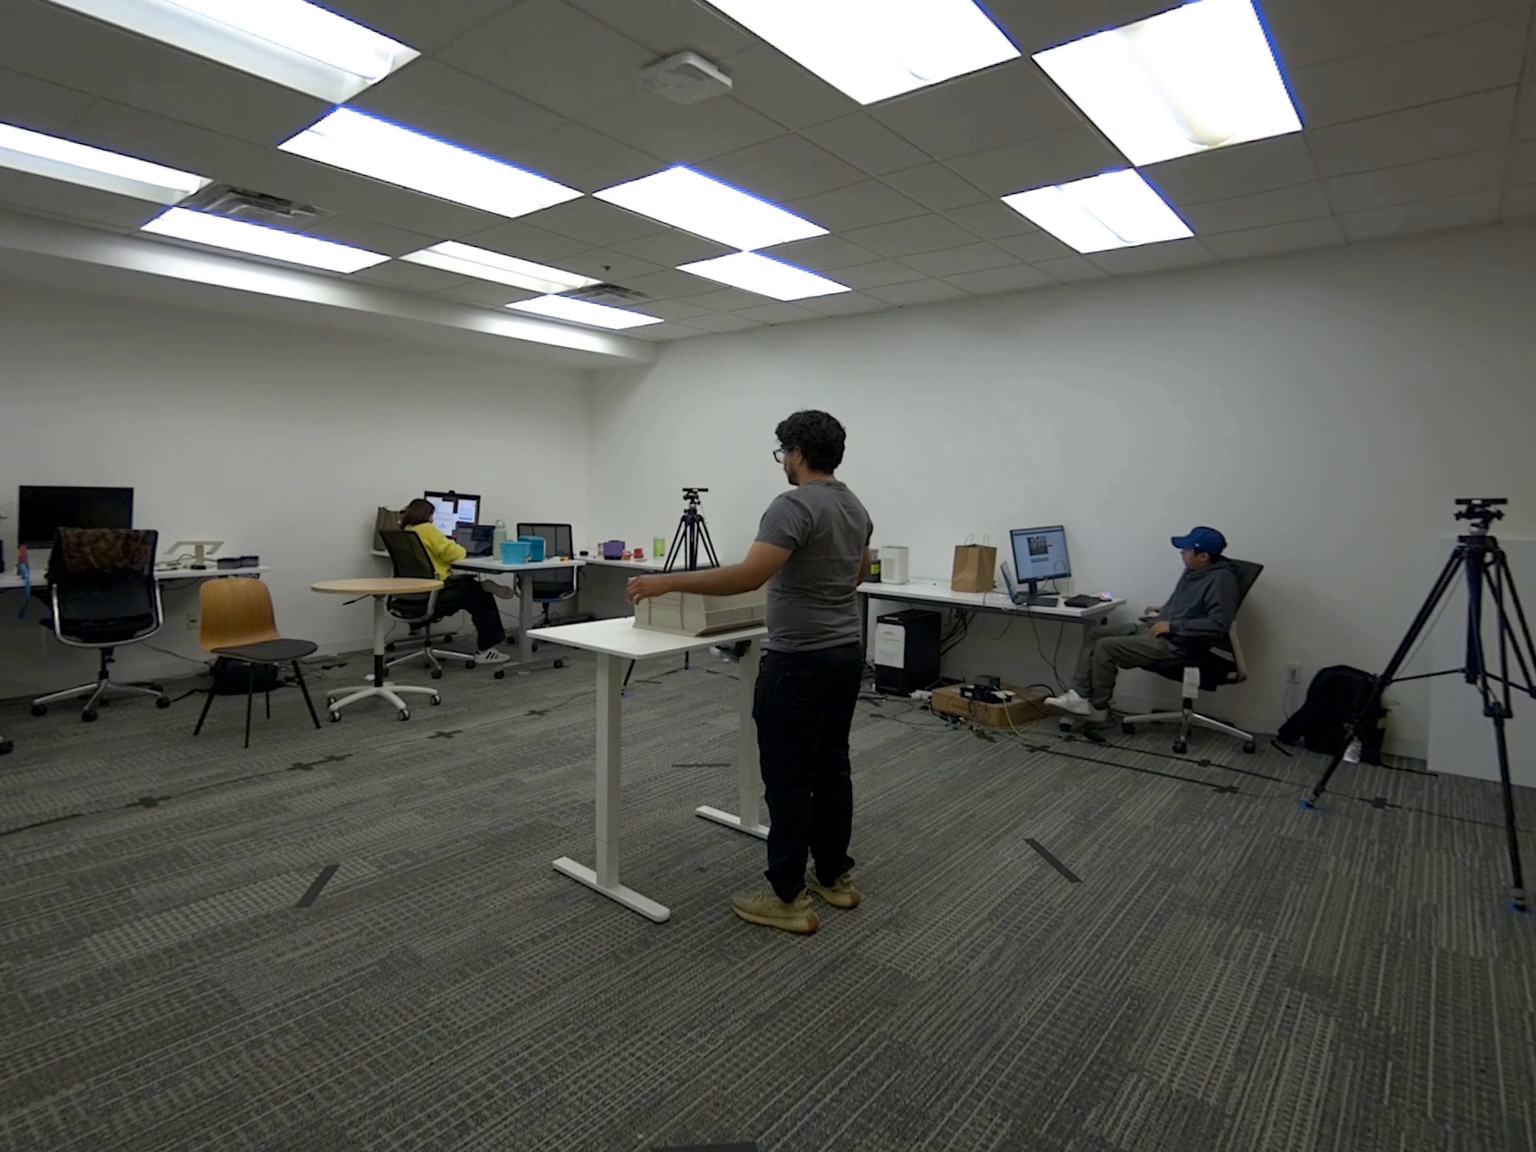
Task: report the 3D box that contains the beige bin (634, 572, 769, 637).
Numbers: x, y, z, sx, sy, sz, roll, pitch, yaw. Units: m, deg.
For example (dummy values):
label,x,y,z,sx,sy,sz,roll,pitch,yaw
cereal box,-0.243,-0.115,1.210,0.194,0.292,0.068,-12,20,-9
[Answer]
label,x,y,z,sx,sy,sz,roll,pitch,yaw
beige bin,-0.235,0.097,3.132,0.390,0.188,0.410,3,5,41
